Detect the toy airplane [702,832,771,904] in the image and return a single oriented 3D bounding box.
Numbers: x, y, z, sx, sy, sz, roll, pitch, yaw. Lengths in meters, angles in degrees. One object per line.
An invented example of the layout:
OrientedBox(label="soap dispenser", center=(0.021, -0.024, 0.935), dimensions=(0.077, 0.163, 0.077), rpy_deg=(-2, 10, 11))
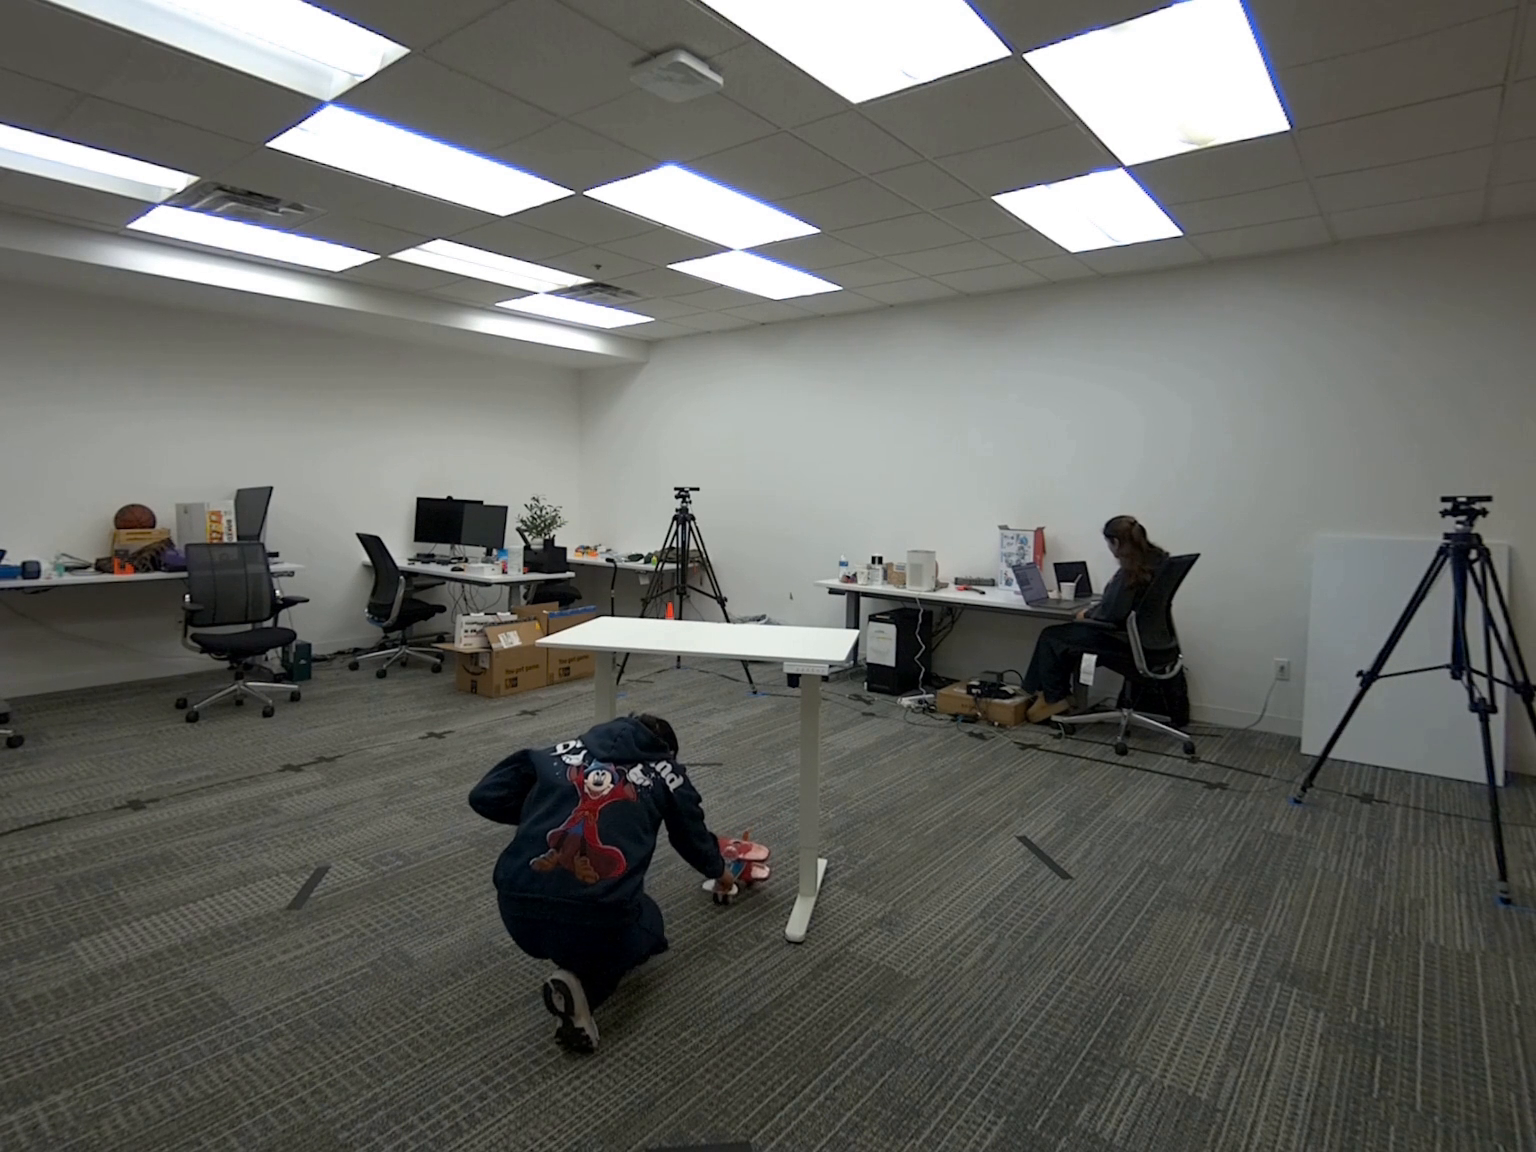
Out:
OrientedBox(label="toy airplane", center=(-0.106, 1.010, 2.928), dimensions=(0.248, 0.156, 0.262), rpy_deg=(0, 3, -11))
